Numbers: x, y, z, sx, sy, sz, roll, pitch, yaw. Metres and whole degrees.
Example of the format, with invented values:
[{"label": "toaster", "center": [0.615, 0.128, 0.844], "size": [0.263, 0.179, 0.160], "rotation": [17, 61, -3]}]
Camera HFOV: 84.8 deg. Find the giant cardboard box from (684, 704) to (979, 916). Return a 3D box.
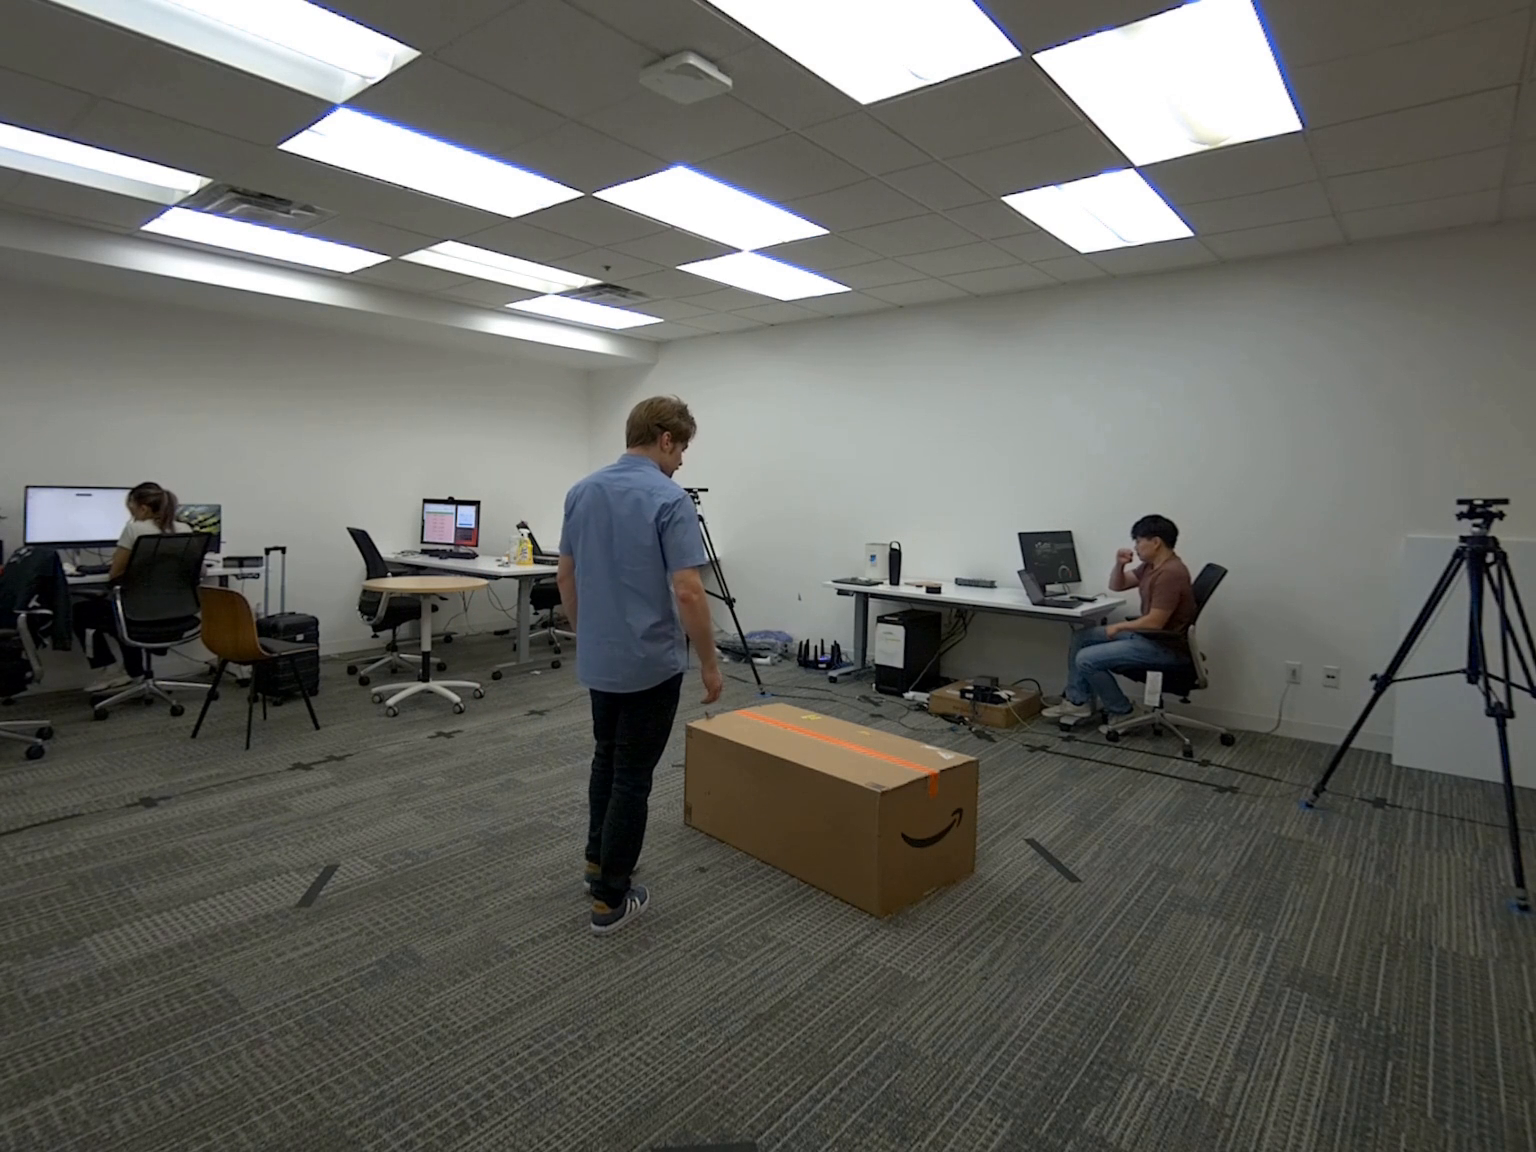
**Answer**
[{"label": "giant cardboard box", "center": [0.202, 0.843, 3.329], "size": [0.567, 0.445, 1.063], "rotation": [-4, 8, -43]}]
